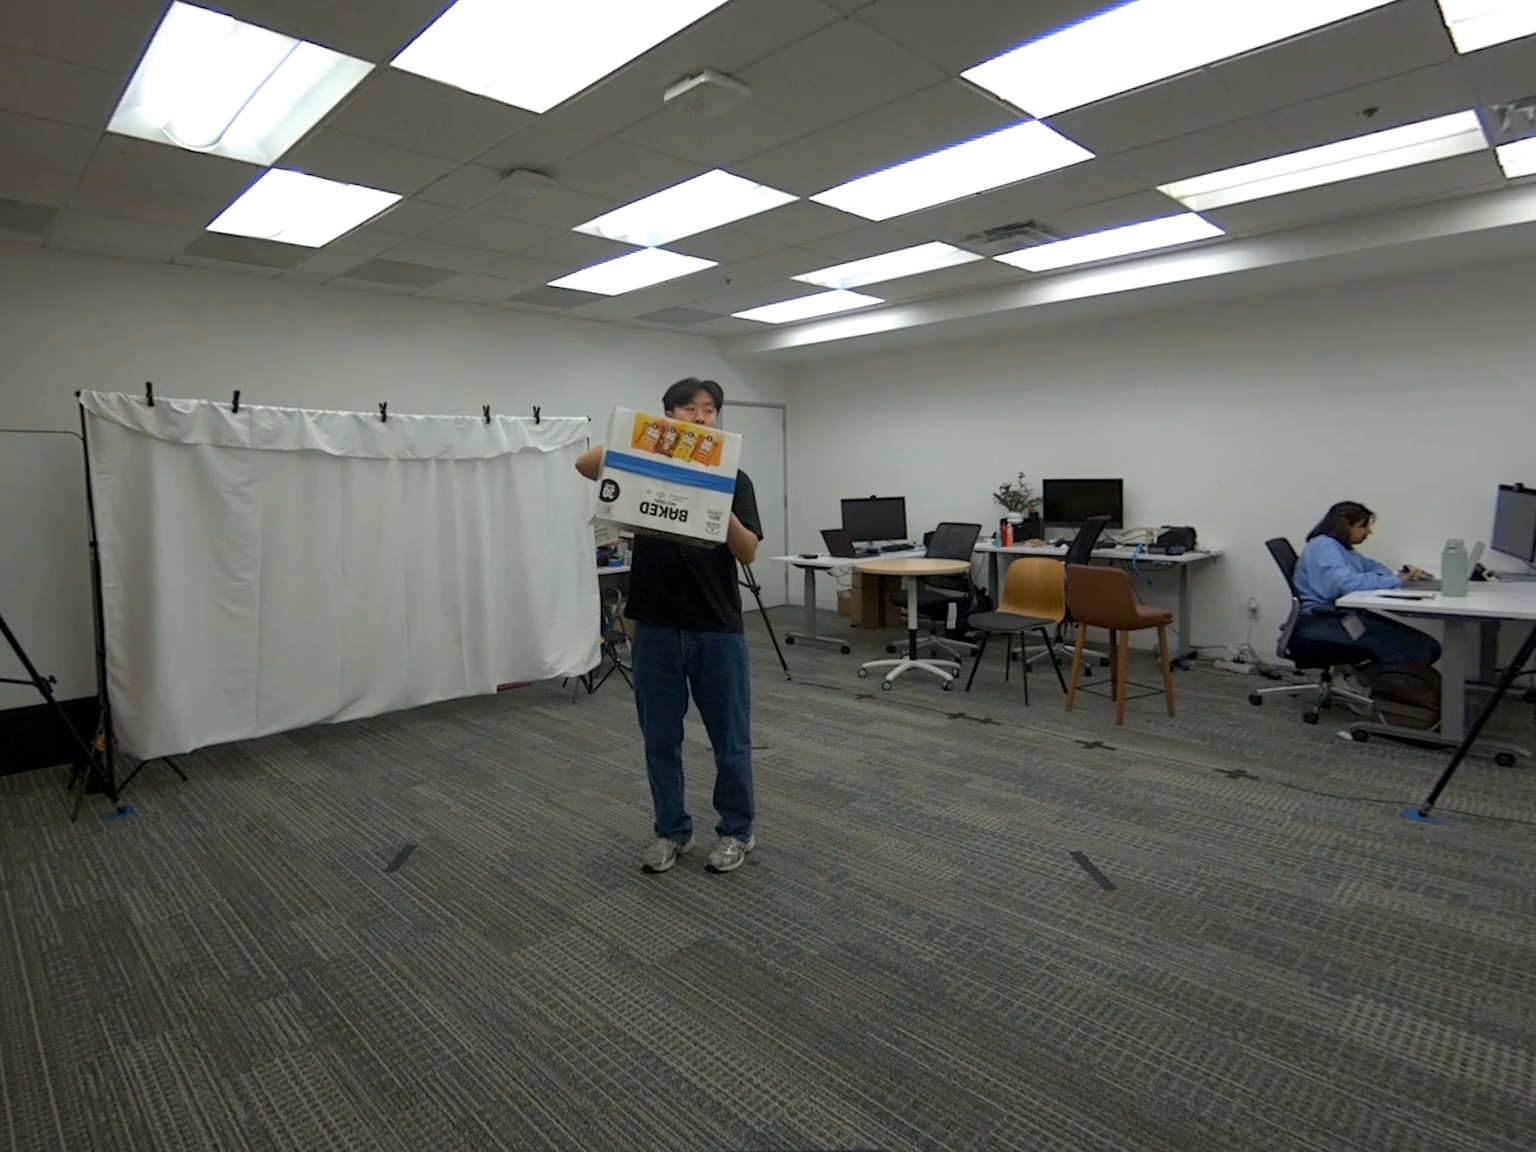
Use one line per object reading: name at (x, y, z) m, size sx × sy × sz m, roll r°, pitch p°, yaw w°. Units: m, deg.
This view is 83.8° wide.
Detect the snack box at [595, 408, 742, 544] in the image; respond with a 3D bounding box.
snack box at (-0.325, -0.295, 2.647) m, size 0.399 × 0.343 × 0.207 m, roll 11°, pitch -9°, yaw -12°
